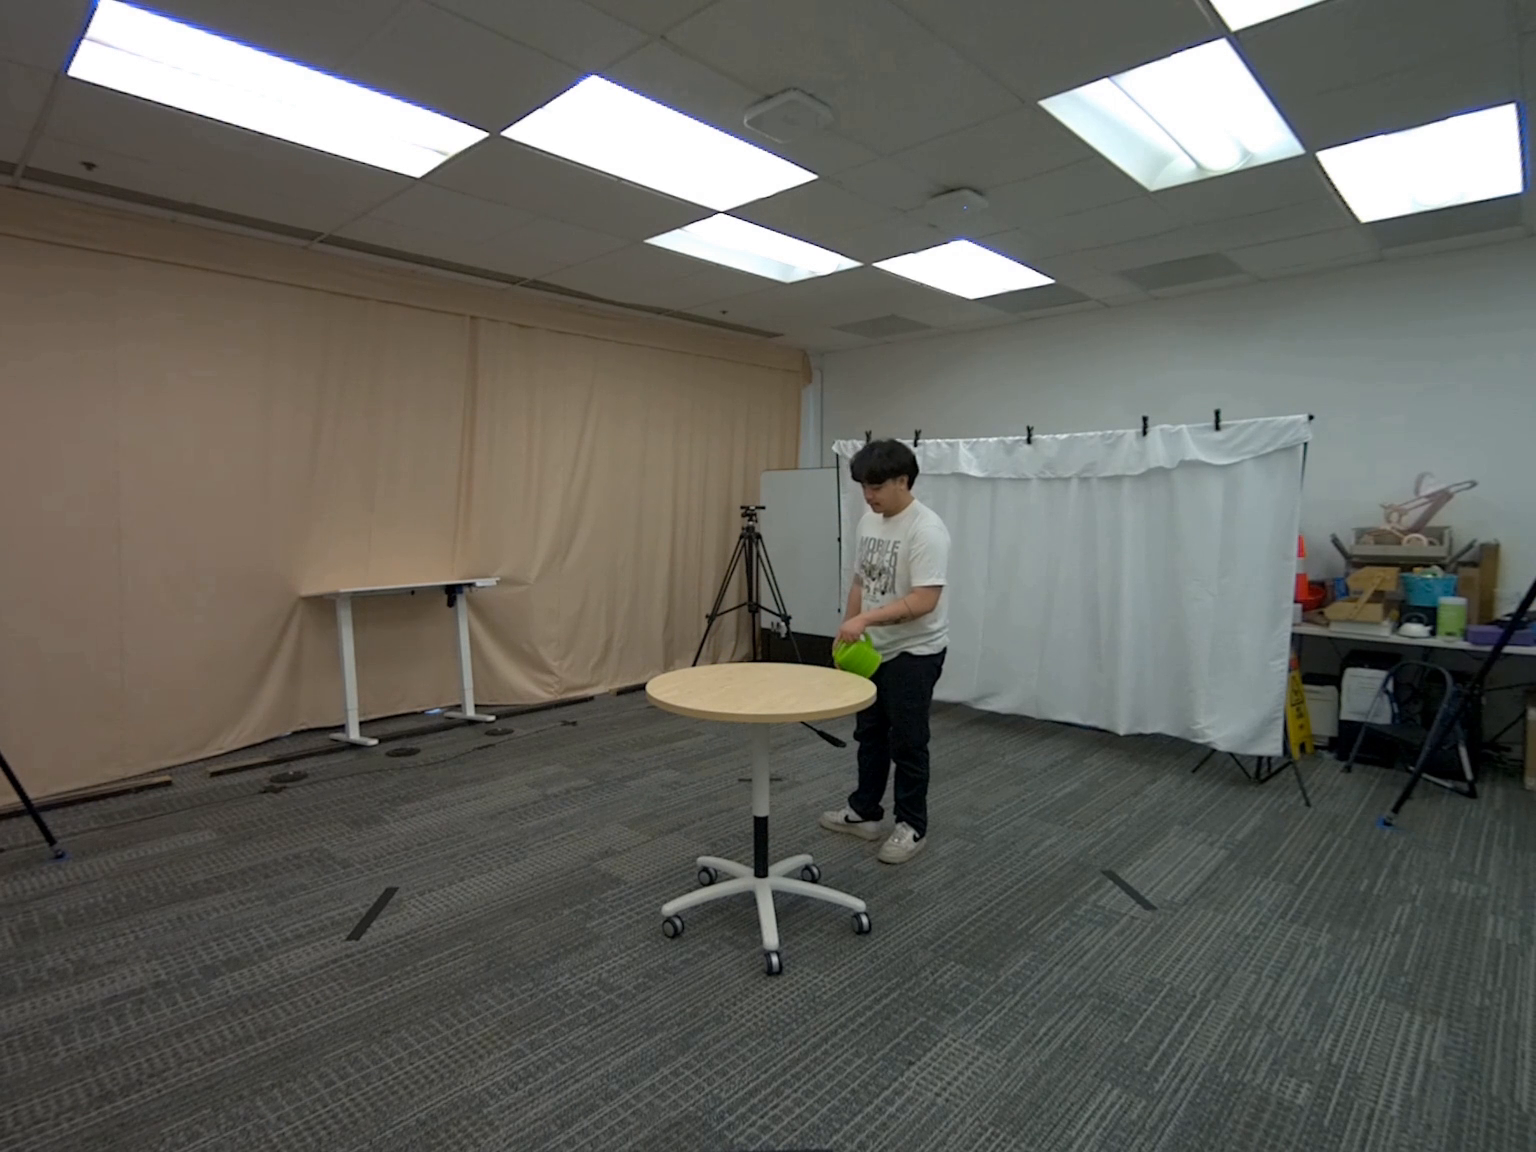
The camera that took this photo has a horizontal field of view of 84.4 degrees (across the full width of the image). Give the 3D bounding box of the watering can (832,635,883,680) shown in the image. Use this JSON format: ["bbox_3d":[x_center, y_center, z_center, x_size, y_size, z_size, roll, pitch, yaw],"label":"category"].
[{"bbox_3d":[0.309,0.336,3.204,0.175,0.279,0.098,39,21,-8],"label":"watering can"}]
